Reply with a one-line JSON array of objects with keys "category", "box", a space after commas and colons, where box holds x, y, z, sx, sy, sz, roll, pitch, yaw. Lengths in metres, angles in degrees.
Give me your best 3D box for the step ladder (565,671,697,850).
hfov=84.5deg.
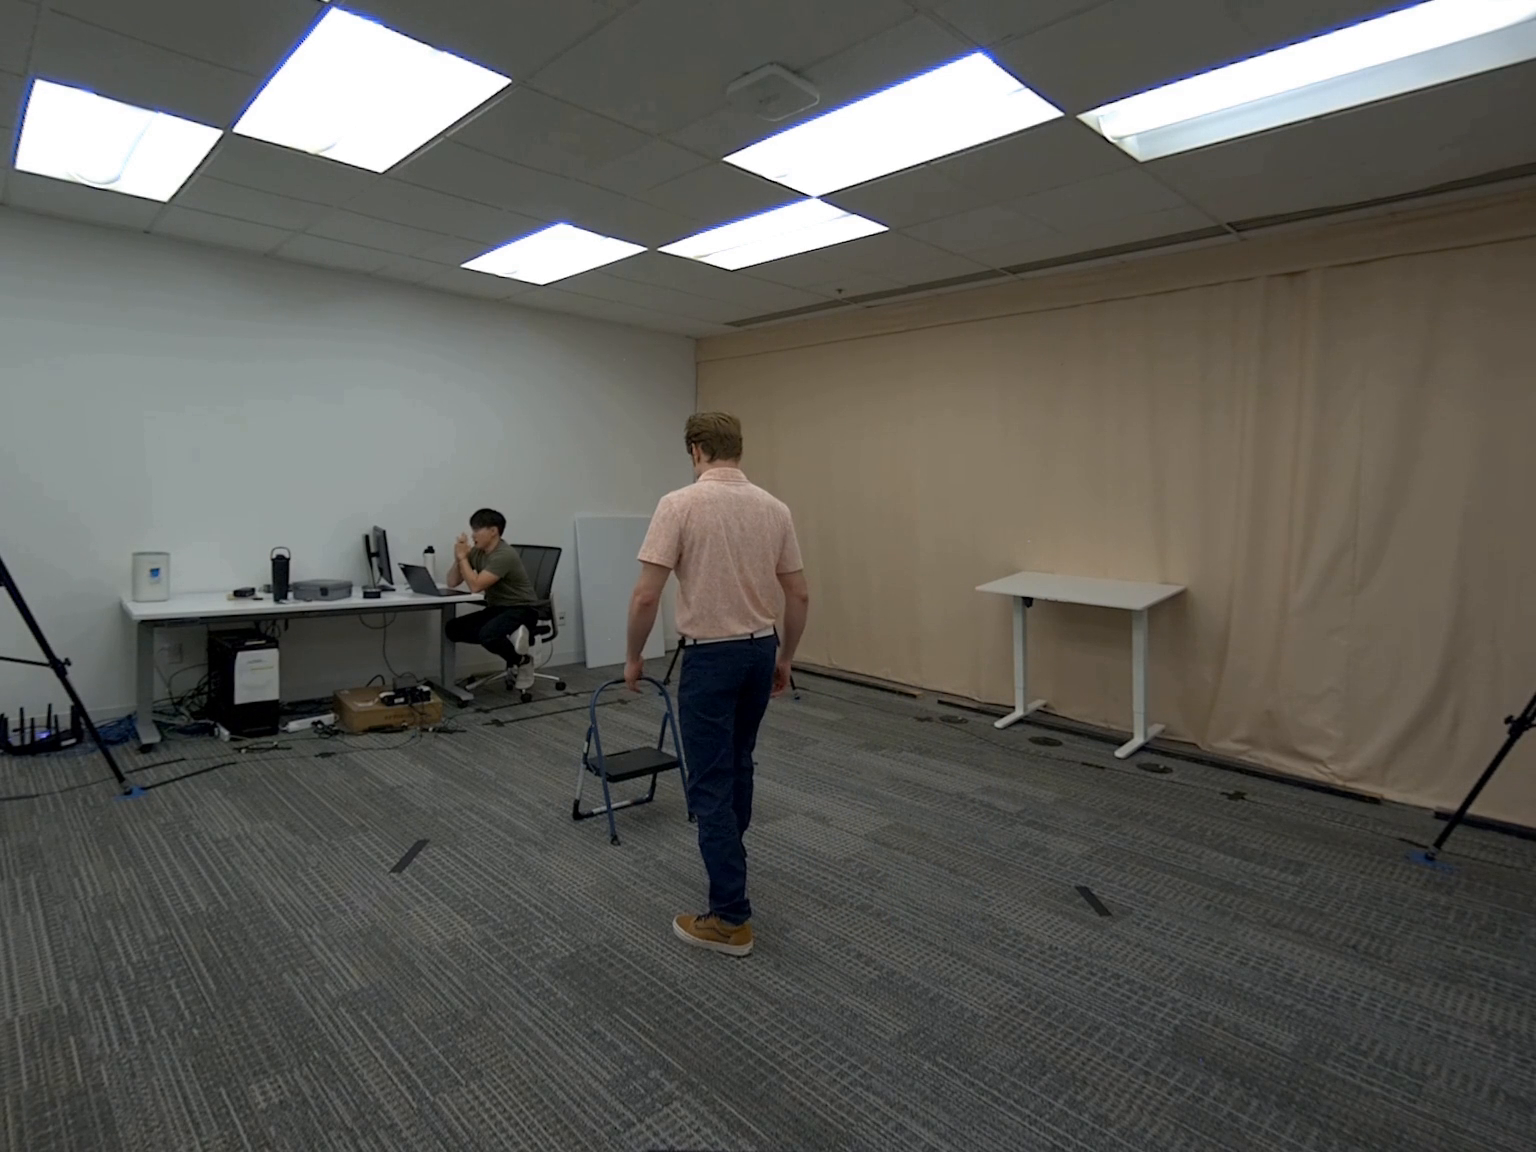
[{"category": "step ladder", "box": [-0.574, 0.755, 3.596, 0.420, 0.605, 0.358, 0, 4, -44]}]
